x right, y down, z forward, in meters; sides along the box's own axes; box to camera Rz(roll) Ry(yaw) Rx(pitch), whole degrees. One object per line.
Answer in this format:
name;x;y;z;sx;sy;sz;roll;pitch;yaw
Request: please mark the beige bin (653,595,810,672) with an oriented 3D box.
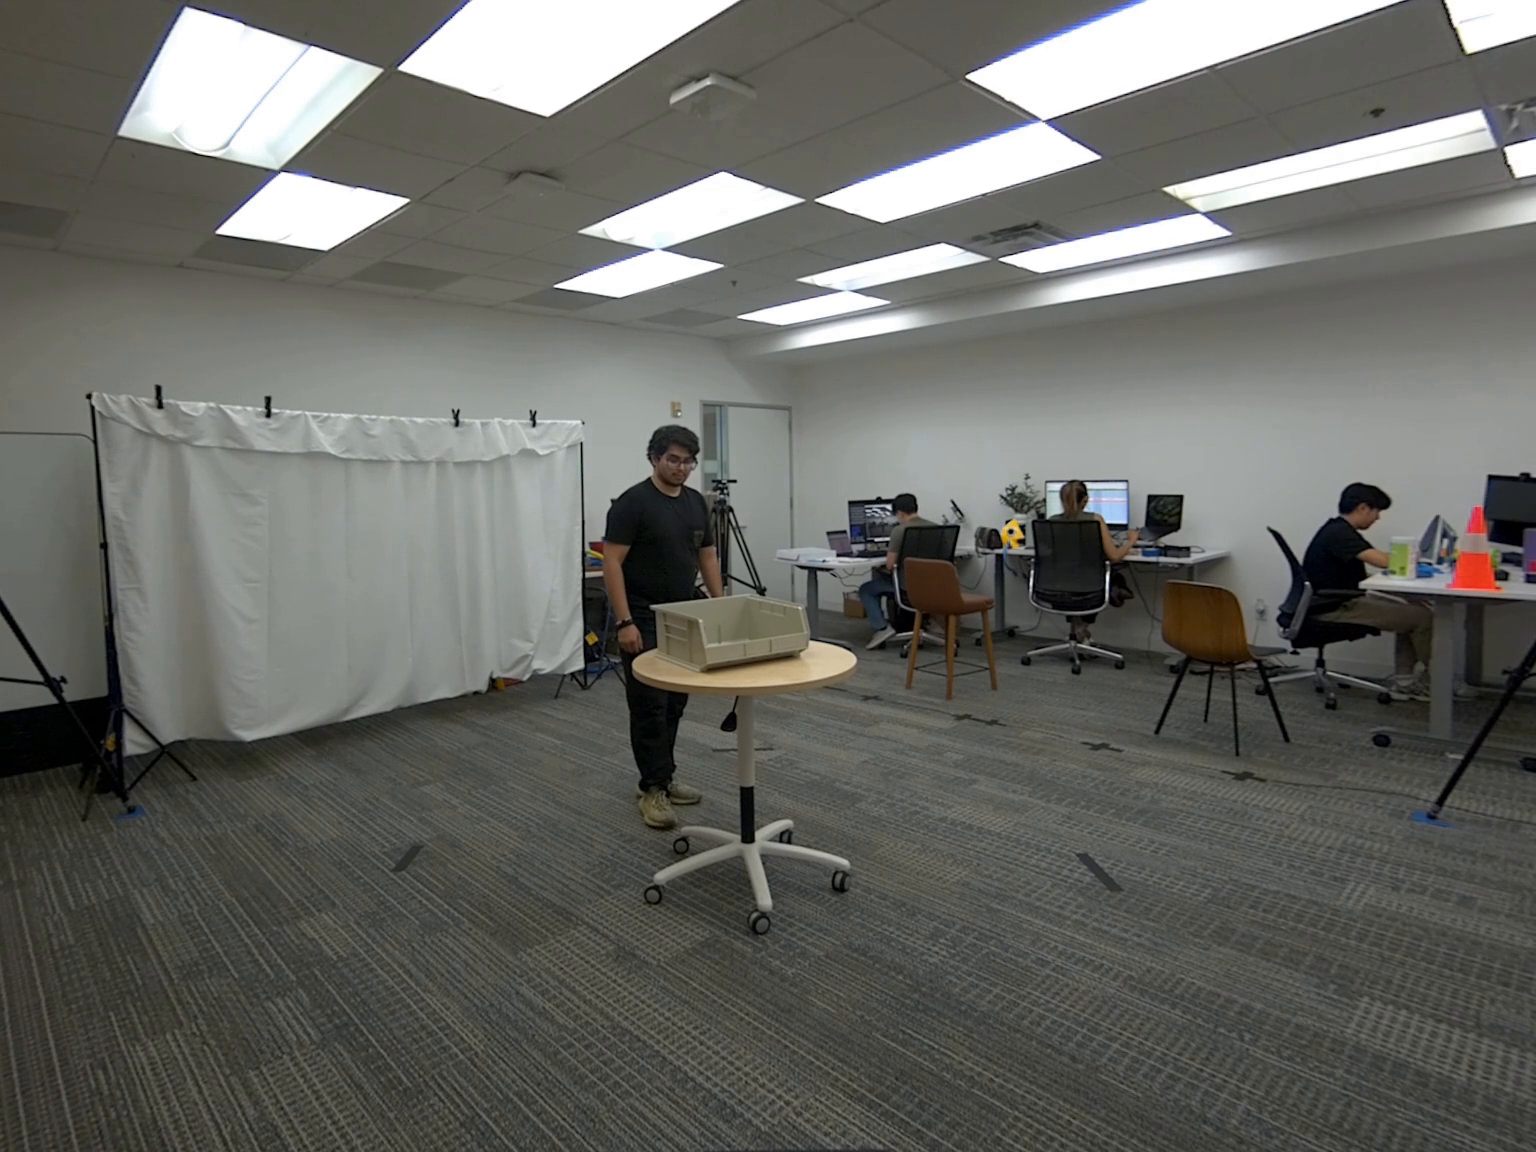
beige bin;-0.131;0.192;2.961;0.412;0.188;0.388;-6;7;-33
